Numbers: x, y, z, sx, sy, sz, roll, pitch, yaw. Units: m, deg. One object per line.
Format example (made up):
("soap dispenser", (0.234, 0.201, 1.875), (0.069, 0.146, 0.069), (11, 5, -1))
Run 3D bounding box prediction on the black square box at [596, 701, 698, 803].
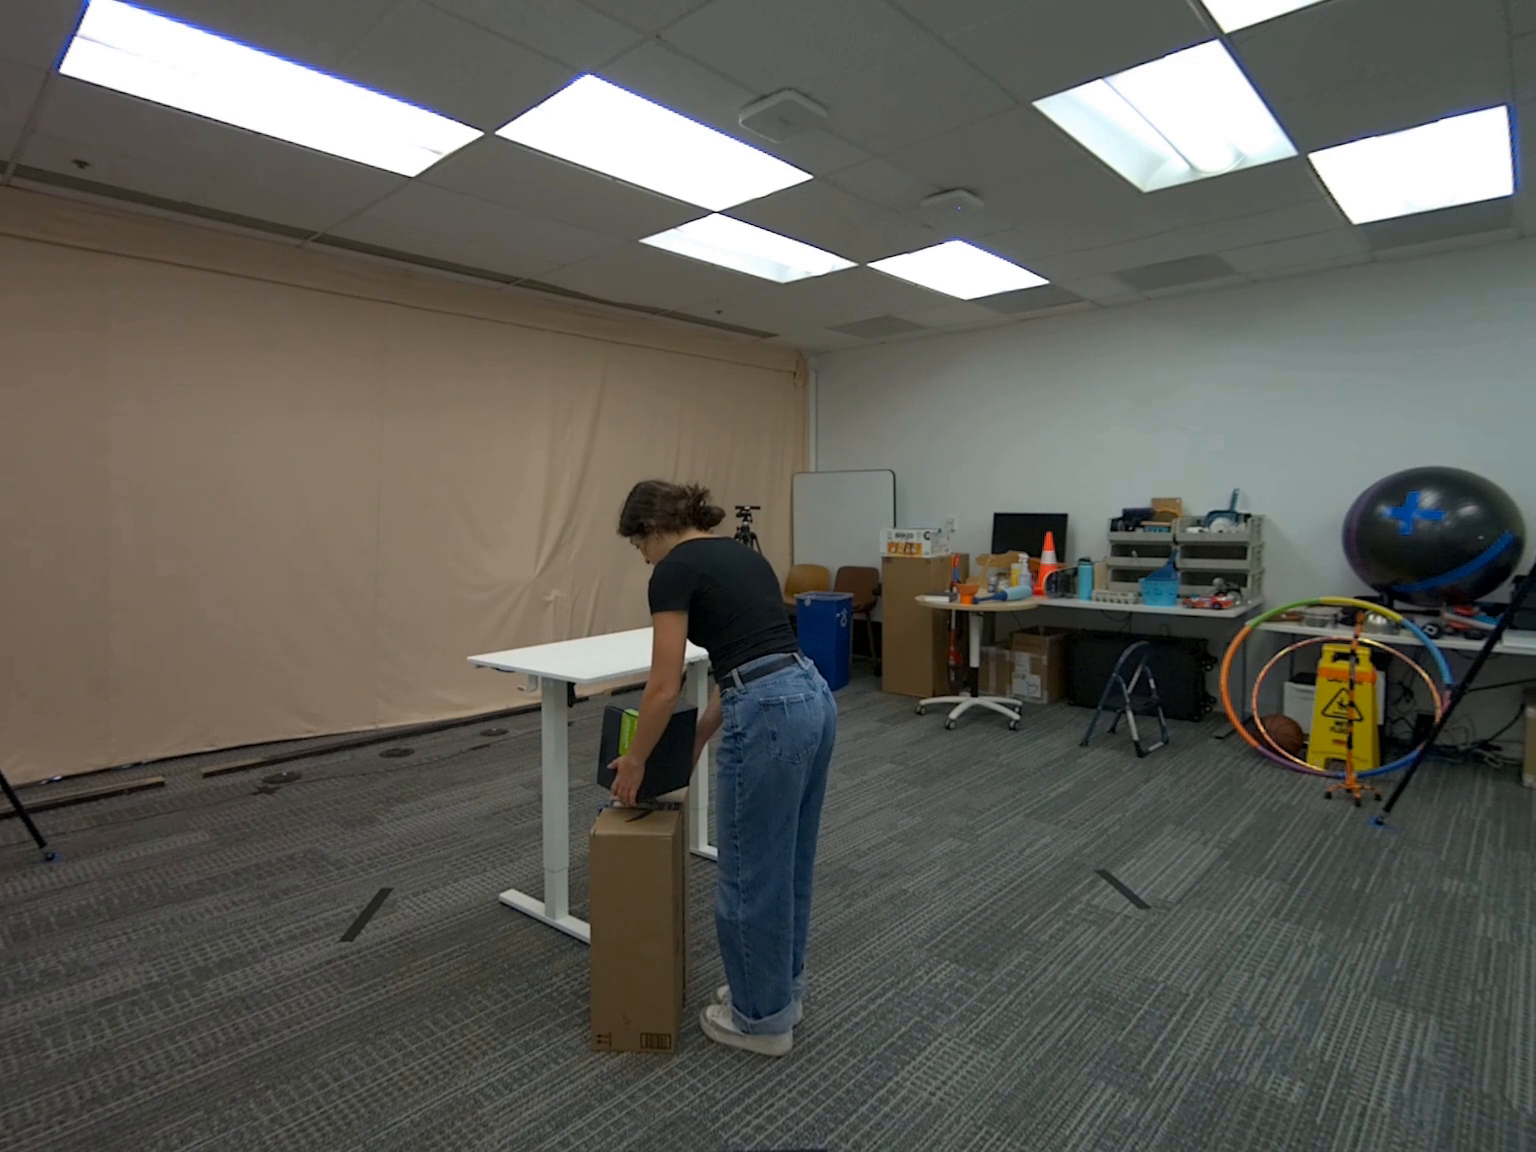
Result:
("black square box", (-0.332, 0.465, 2.318), (0.161, 0.227, 0.210), (10, 7, 35))
